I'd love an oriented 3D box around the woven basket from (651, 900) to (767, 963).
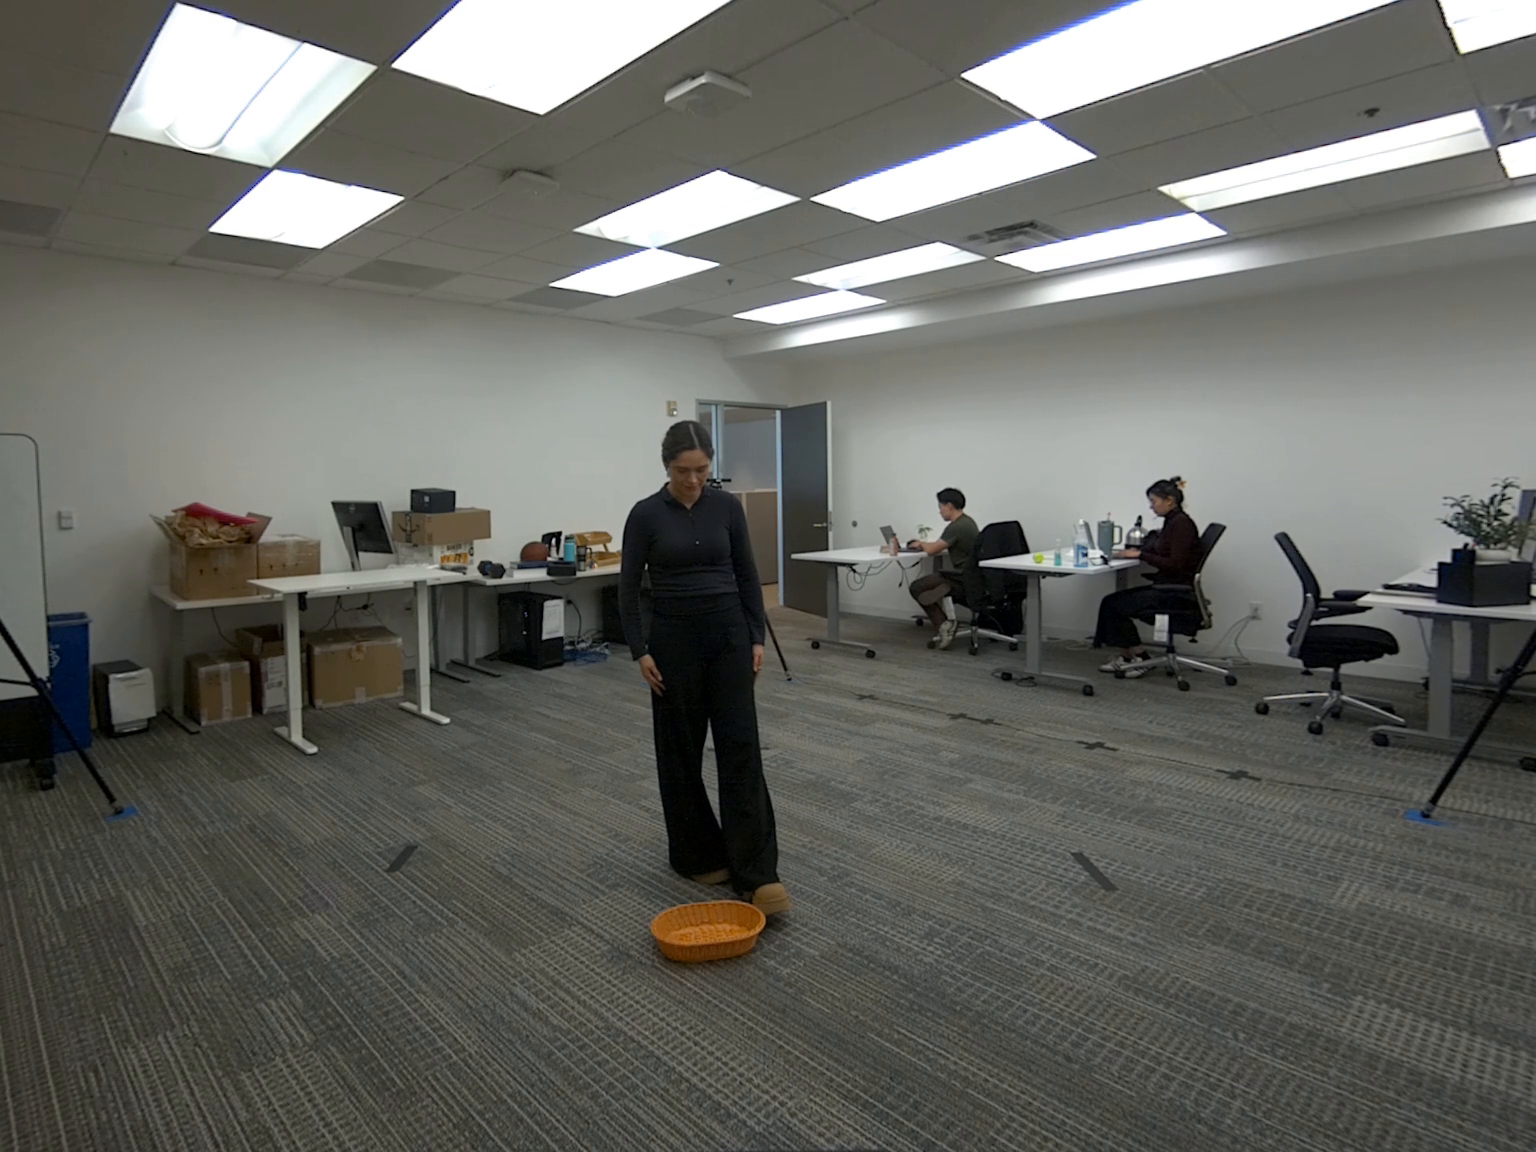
[{"bbox_3d":[-0.179,1.072,2.567,0.348,0.073,0.255,-3,4,-9],"label":"woven basket"}]
